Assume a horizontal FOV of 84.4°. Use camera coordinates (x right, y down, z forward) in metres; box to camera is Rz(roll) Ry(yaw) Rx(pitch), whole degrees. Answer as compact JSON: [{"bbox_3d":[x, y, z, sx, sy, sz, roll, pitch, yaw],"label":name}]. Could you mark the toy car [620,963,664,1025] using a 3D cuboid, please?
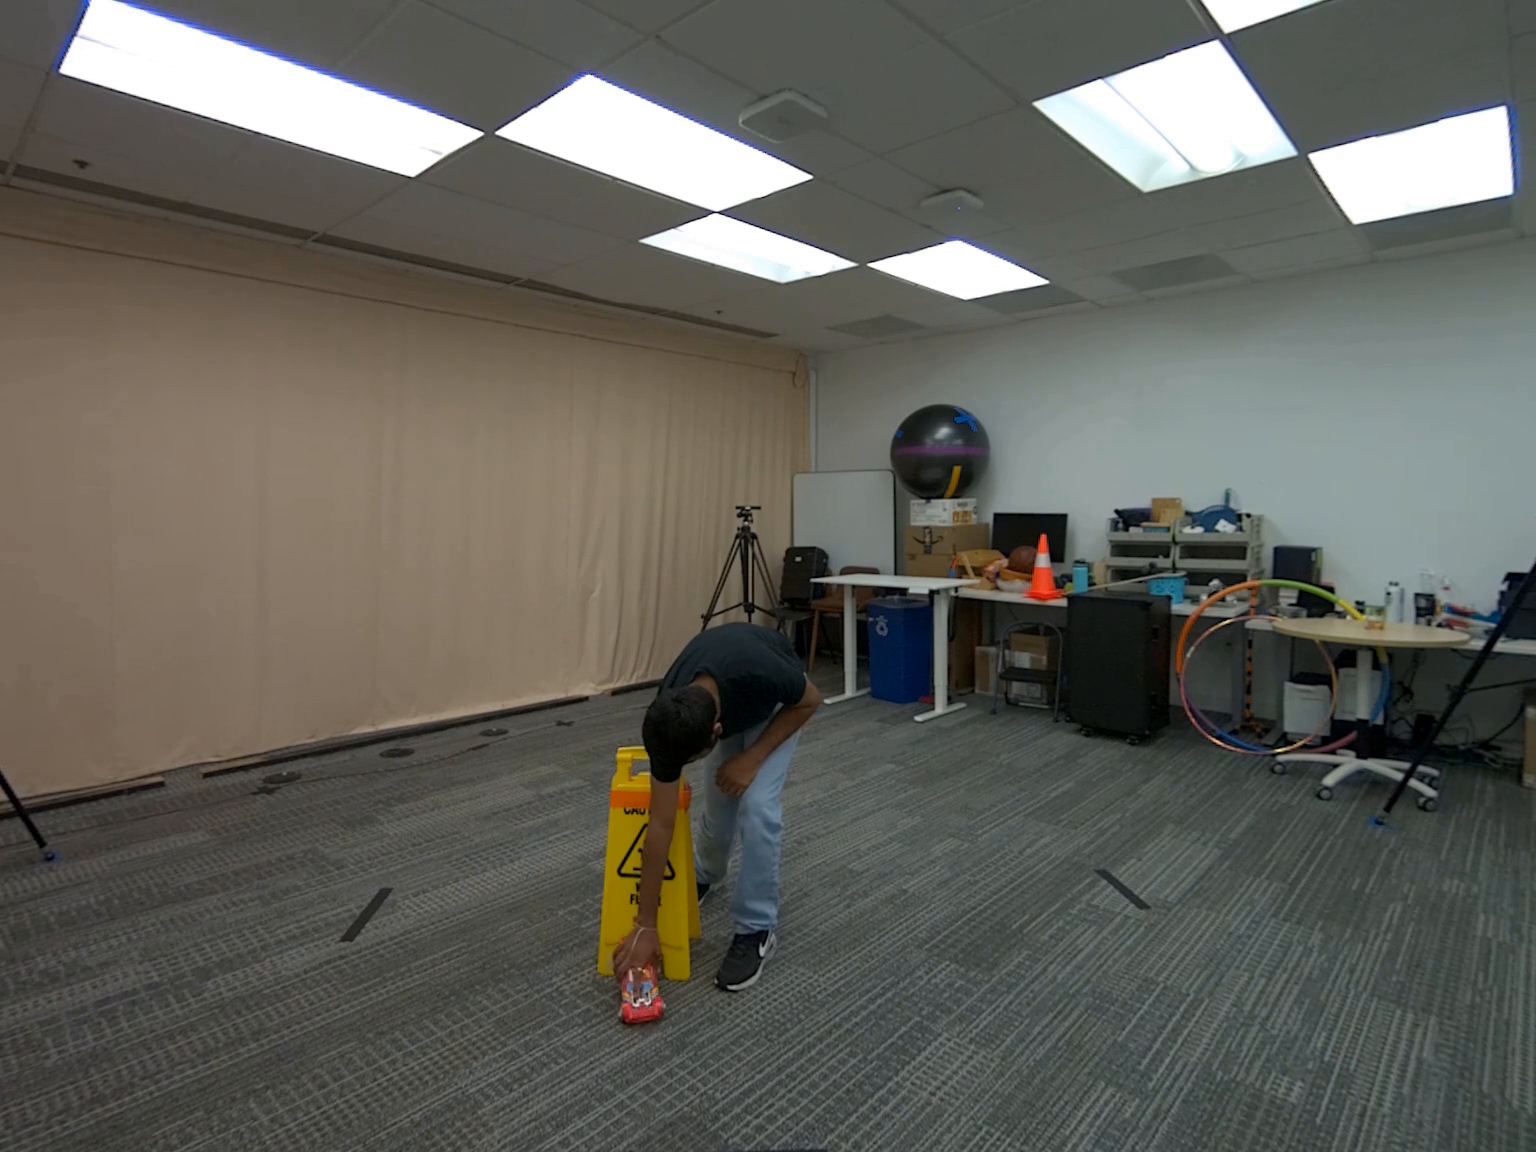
[{"bbox_3d":[-0.364,1.121,2.367,0.129,0.082,0.261,-3,36,-9],"label":"toy car"}]
